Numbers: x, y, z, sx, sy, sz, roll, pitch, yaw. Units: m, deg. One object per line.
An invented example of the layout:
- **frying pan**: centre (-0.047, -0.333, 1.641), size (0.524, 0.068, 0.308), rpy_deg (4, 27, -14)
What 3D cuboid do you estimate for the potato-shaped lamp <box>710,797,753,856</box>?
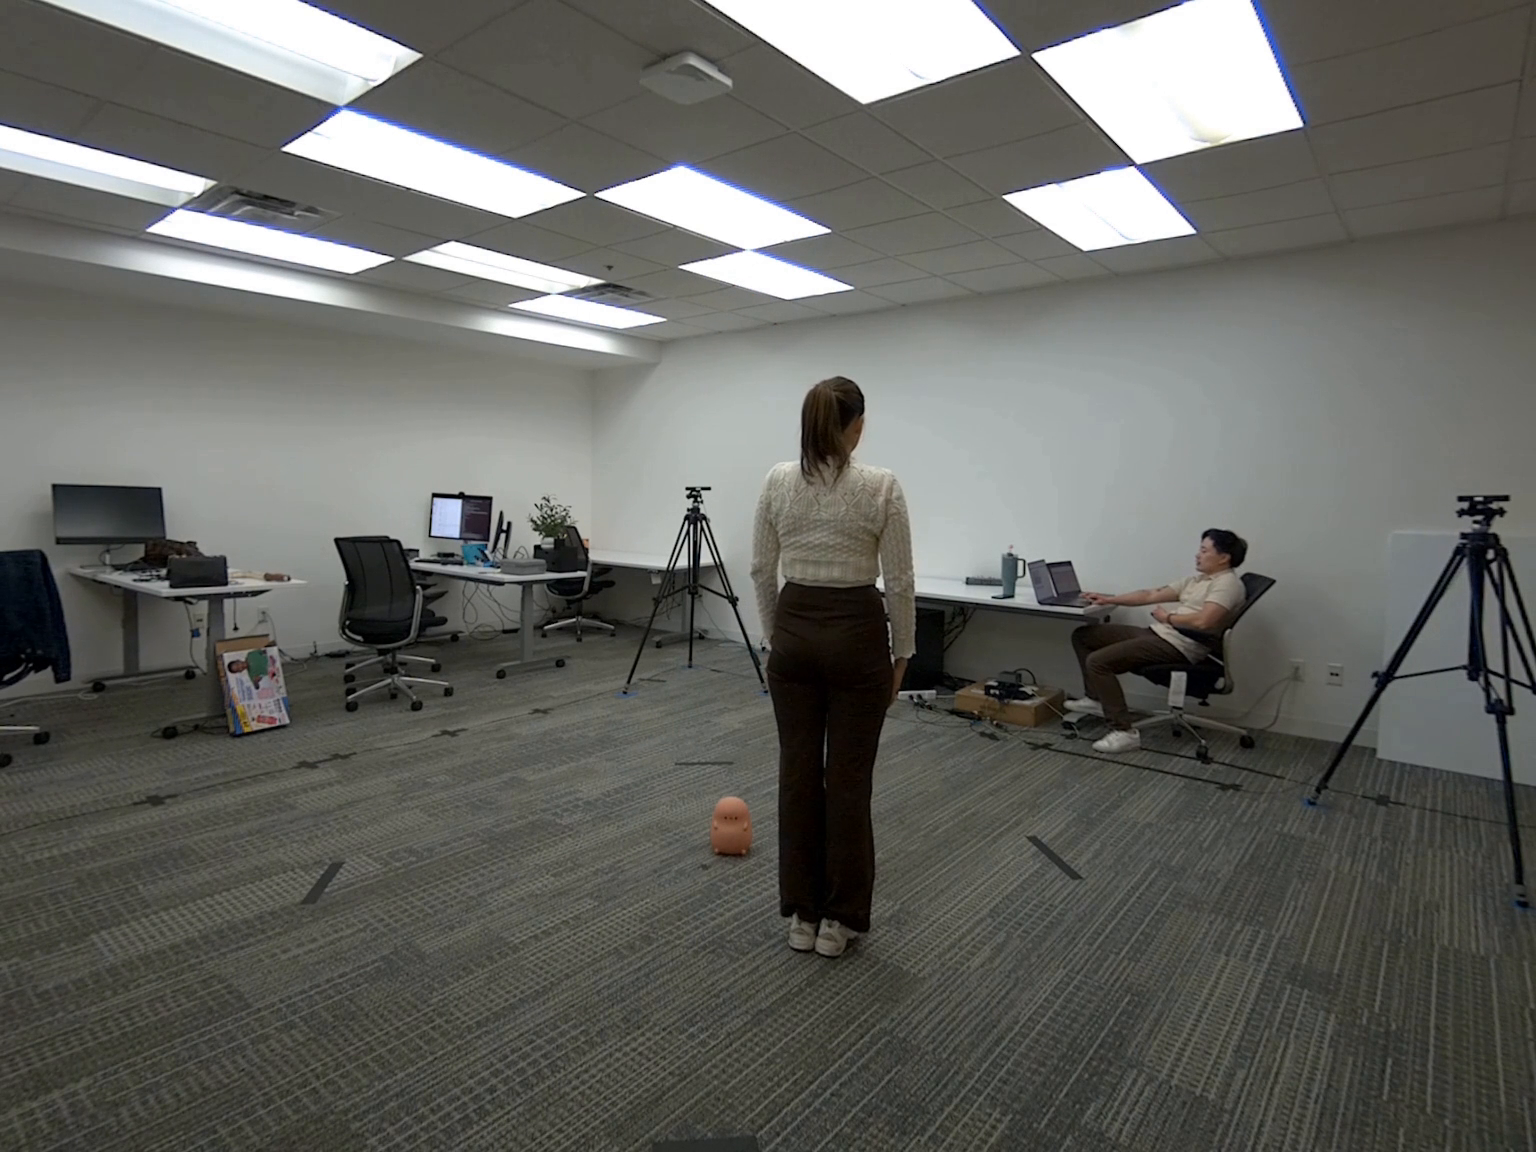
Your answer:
- **potato-shaped lamp**: centre (-0.151, 0.950, 3.272), size (0.165, 0.197, 0.171), rpy_deg (1, 5, 2)
